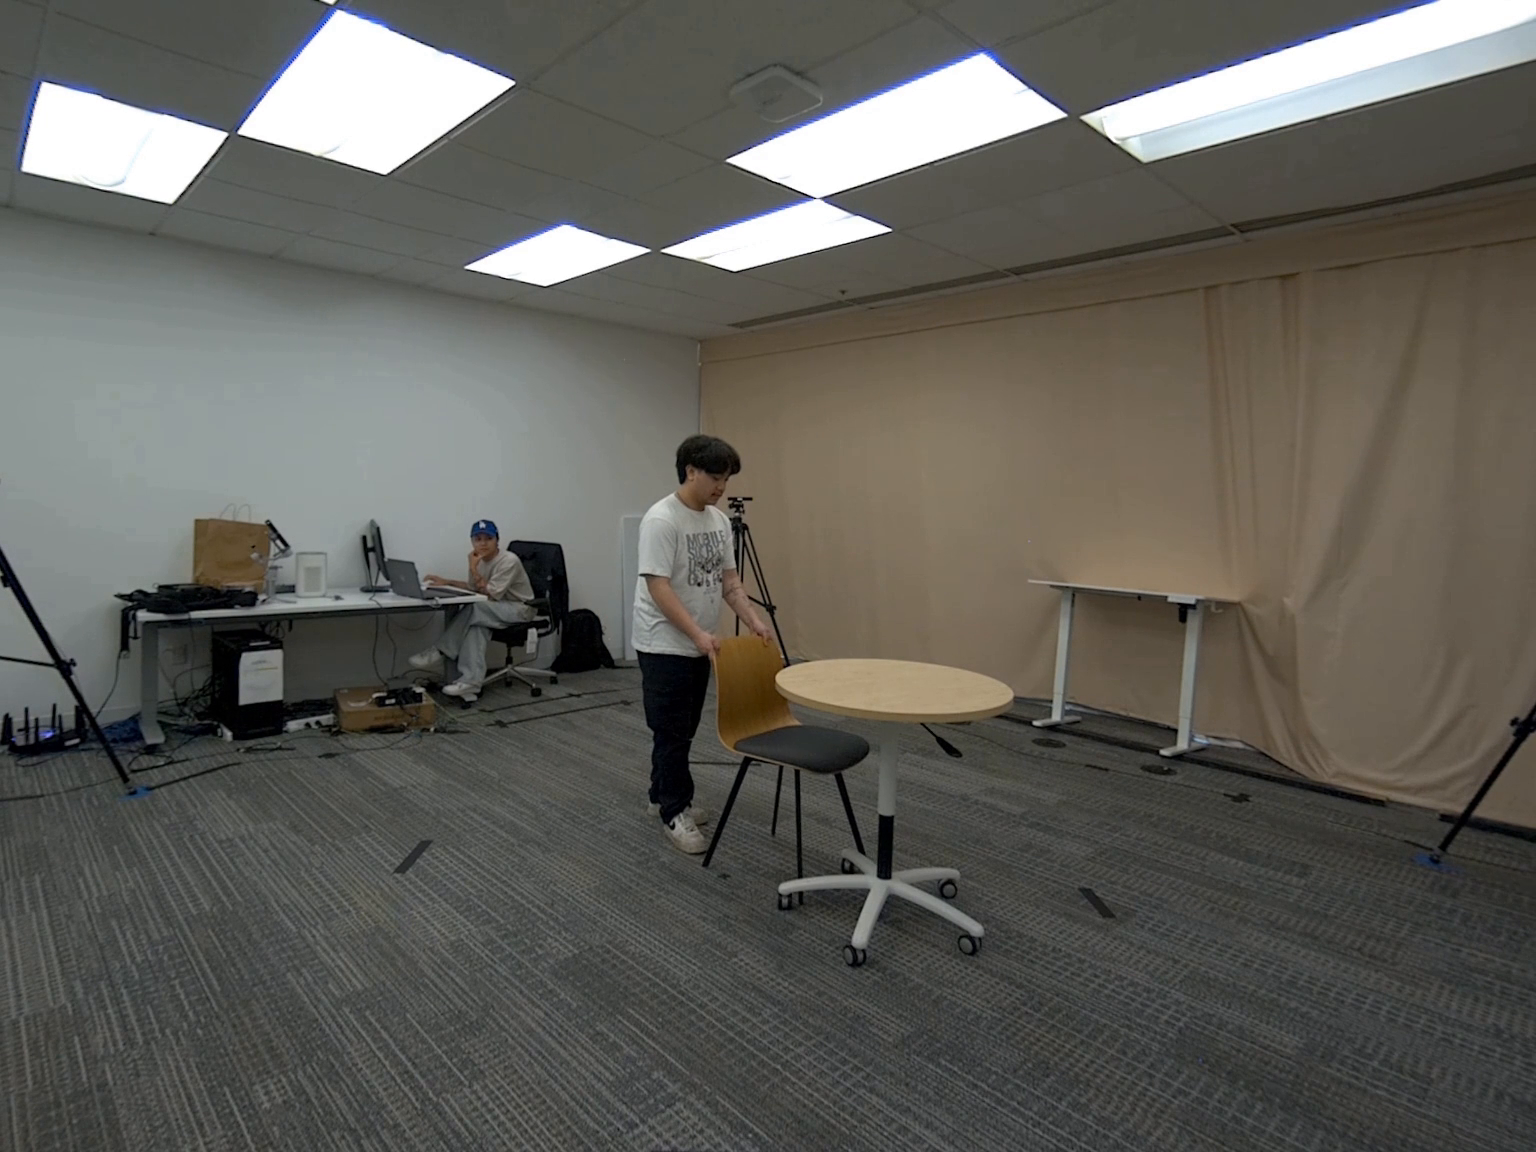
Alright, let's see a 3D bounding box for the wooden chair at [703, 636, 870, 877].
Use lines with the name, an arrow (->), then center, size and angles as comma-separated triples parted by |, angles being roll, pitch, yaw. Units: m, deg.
wooden chair -> 0.076, 0.679, 3.172 | 0.535, 0.877, 0.467 | -2, 0, 38
